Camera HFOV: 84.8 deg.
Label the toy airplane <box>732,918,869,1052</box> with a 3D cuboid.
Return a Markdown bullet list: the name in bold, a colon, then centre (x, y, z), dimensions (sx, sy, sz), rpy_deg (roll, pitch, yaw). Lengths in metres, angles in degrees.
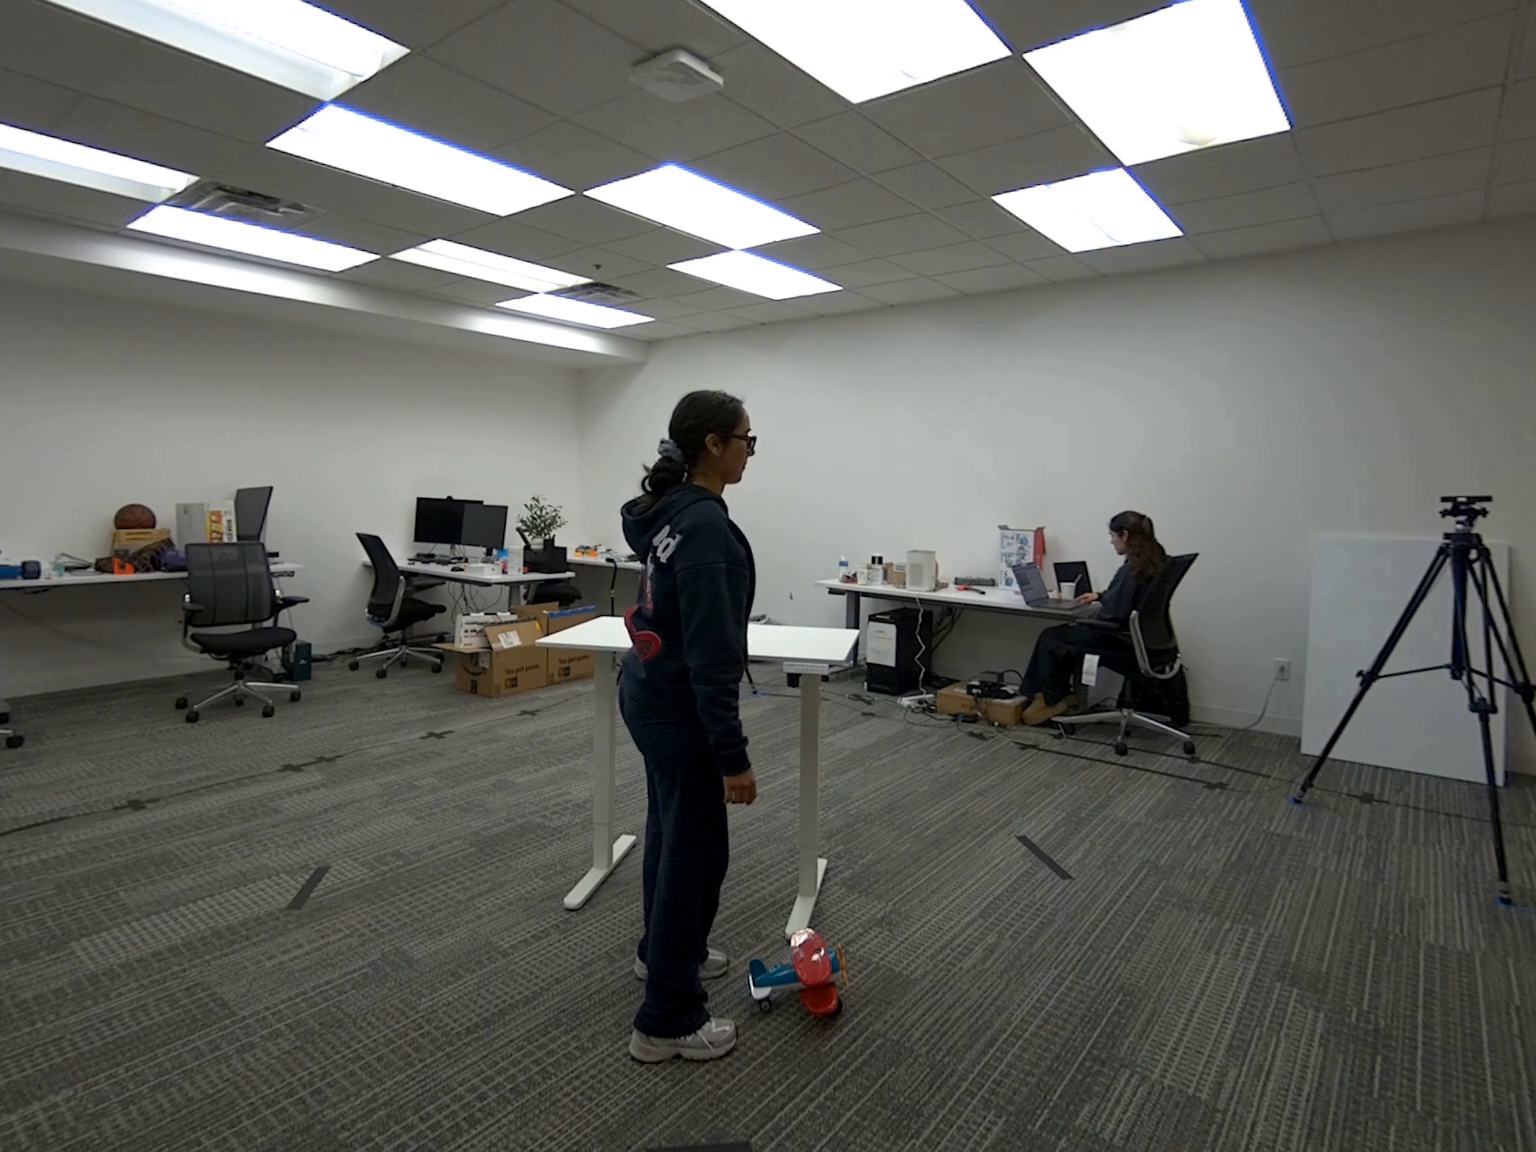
- **toy airplane**: centre (0.085, 1.088, 2.267), dimensions (0.252, 0.156, 0.259), rpy_deg (-5, 5, -36)
